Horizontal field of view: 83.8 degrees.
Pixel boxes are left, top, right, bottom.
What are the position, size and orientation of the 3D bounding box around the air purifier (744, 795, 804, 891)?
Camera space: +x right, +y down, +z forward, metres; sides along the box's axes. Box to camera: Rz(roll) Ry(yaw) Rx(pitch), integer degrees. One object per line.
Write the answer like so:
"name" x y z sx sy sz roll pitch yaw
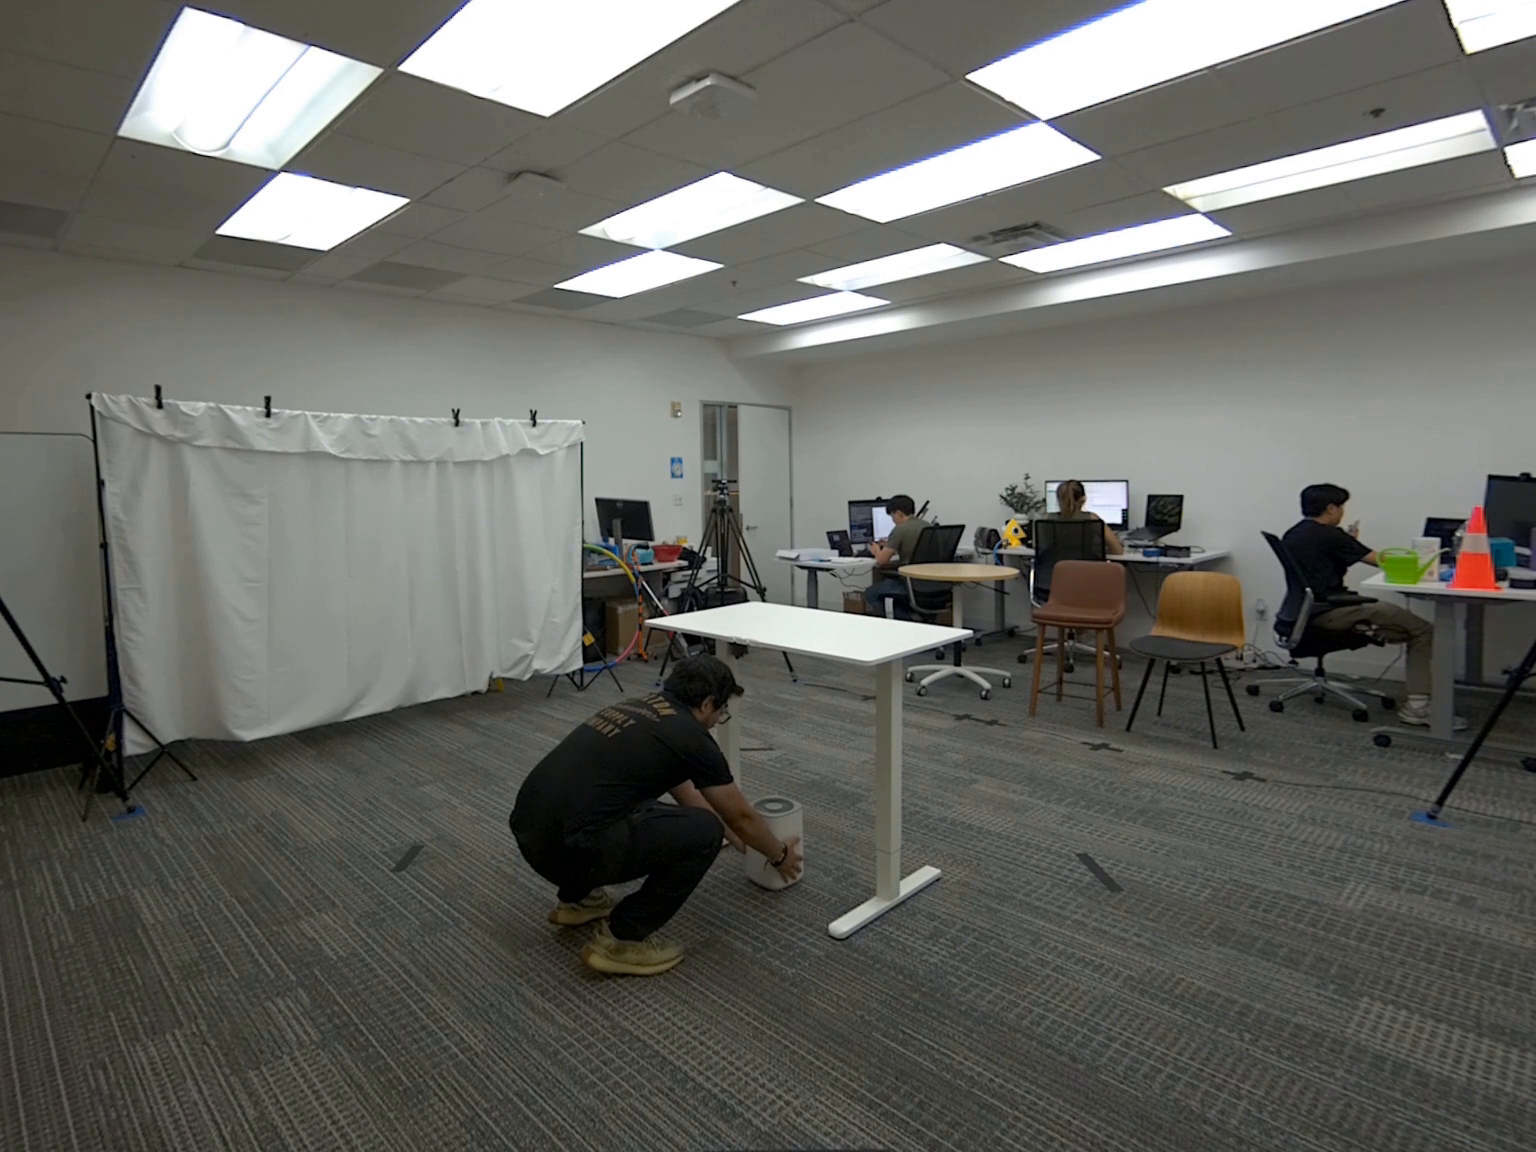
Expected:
"air purifier" 0.026 0.926 2.973 0.167 0.264 0.176 -5 5 -44
